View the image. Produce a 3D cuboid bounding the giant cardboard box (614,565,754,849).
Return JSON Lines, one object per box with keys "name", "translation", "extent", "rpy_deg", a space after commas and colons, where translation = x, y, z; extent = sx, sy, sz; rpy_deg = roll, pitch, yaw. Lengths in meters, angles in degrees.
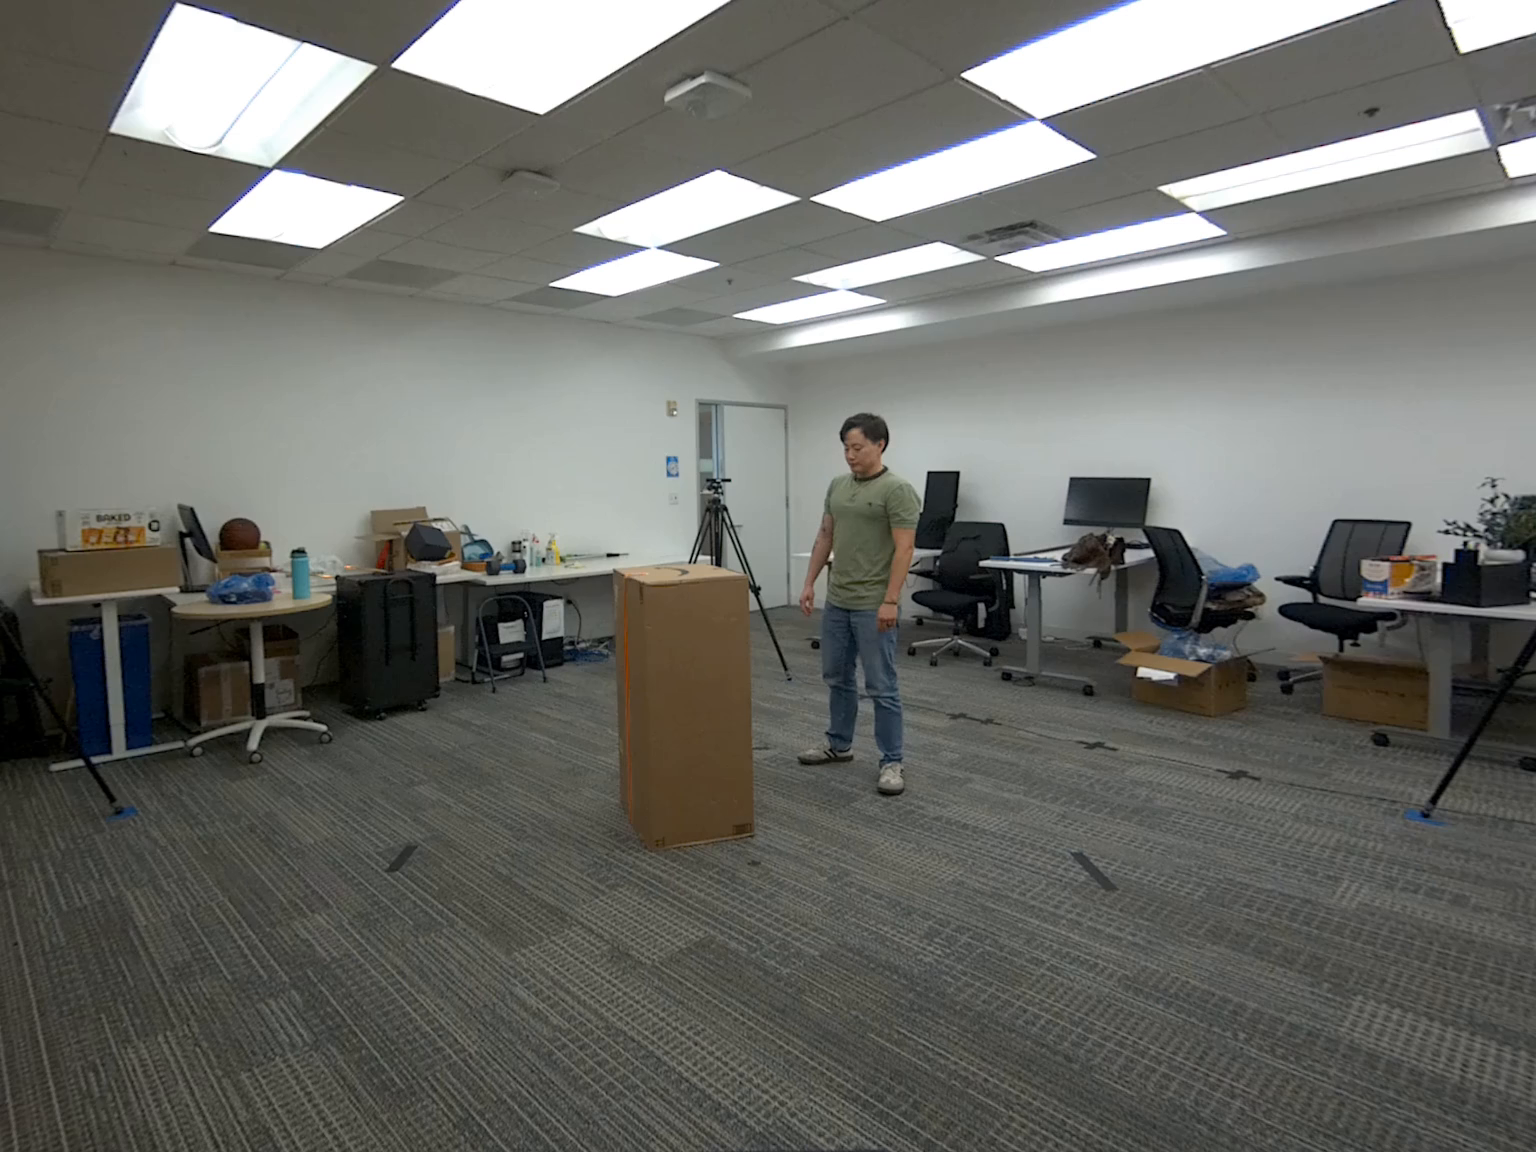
{"name": "giant cardboard box", "translation": [-0.360, 0.491, 3.509], "extent": [0.419, 1.022, 0.590], "rpy_deg": [-2, 4, -20]}
